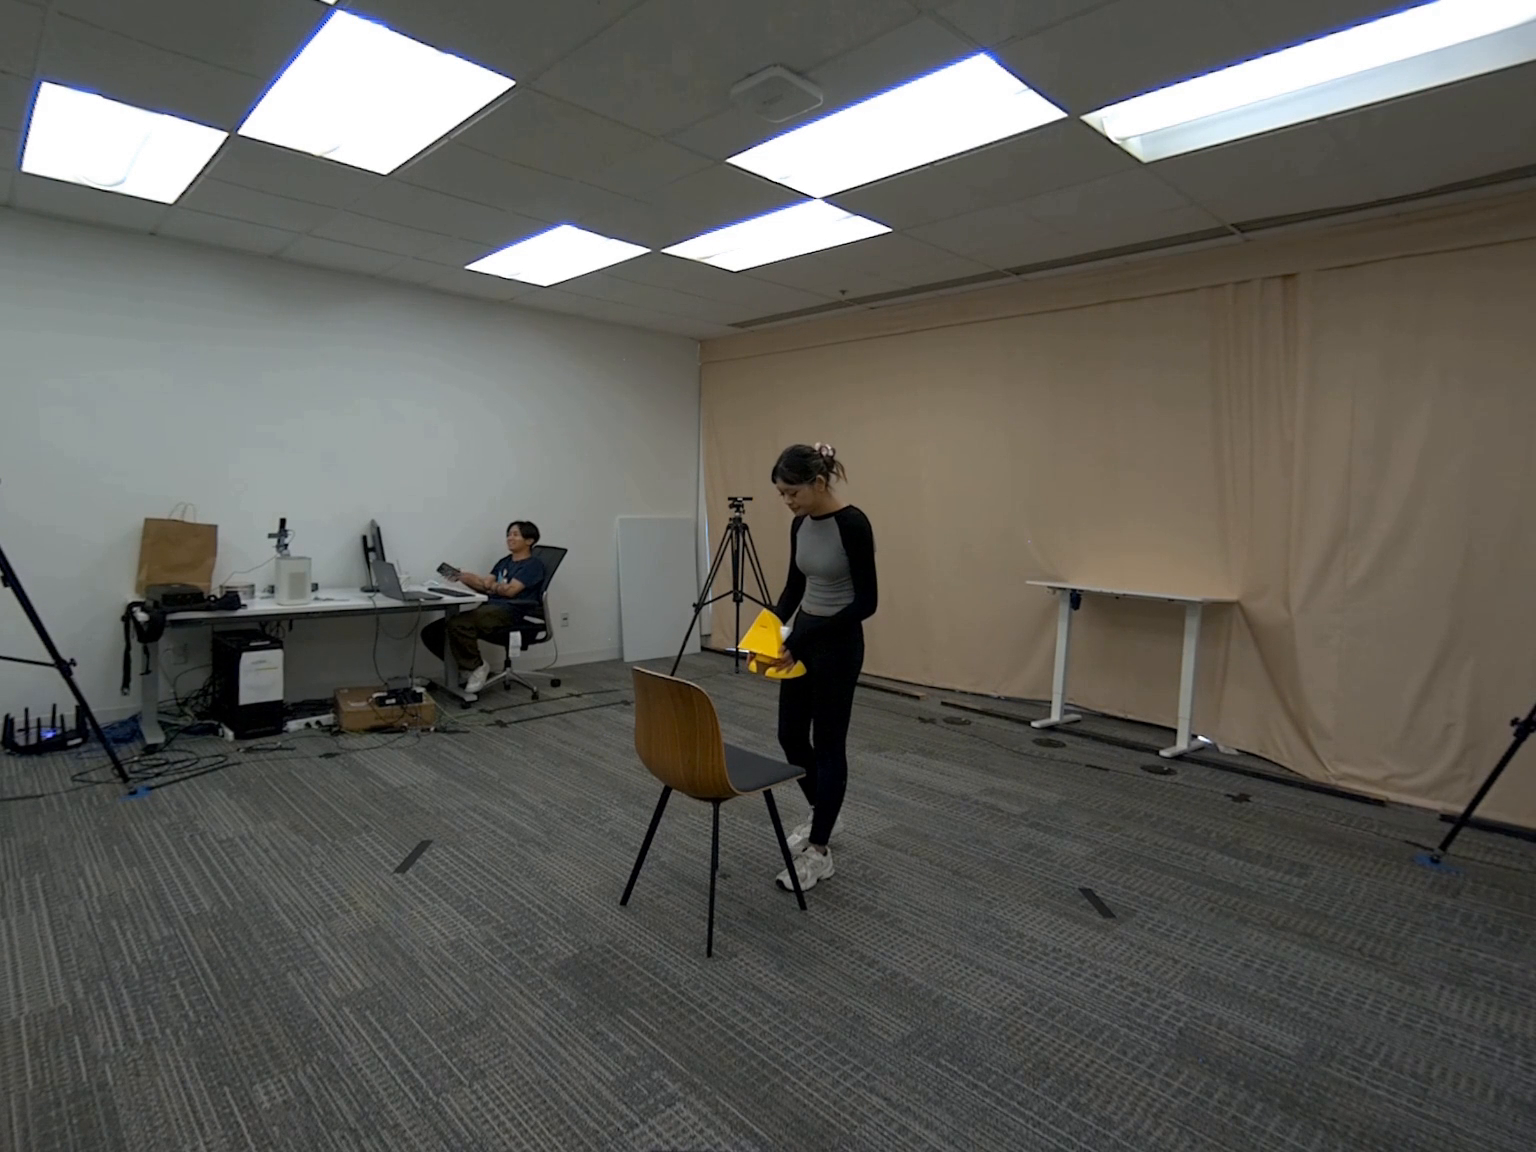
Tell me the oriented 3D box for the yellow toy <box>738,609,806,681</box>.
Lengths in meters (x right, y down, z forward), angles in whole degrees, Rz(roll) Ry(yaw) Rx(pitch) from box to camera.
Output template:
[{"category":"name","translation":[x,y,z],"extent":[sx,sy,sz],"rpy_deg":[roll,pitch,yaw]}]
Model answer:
[{"category":"yellow toy","translation":[0.022,0.227,2.973],"extent":[0.189,0.230,0.210],"rpy_deg":[-4,9,-42]}]
